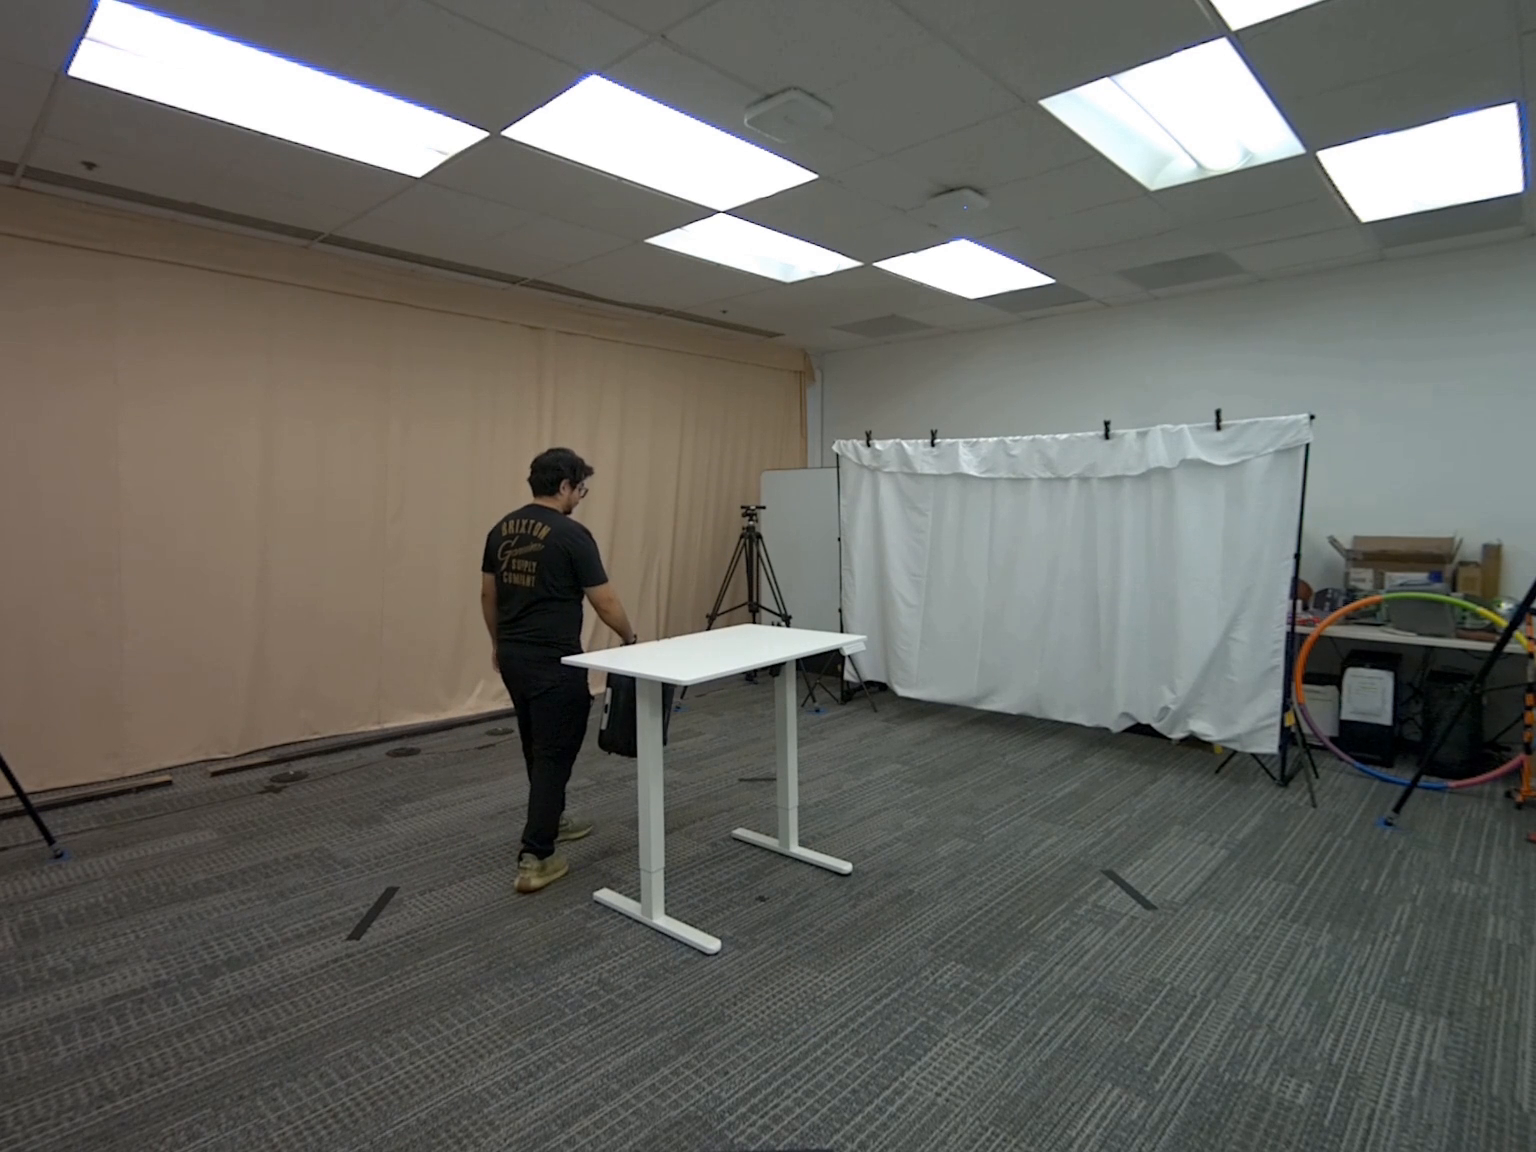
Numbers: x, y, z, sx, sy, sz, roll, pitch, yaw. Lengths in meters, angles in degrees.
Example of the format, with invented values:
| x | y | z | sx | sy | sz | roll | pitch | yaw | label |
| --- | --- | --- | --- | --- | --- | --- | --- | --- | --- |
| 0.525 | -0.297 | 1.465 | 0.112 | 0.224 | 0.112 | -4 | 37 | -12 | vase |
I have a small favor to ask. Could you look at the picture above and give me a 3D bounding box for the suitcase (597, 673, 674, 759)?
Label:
| x | y | z | sx | sy | sz | roll | pitch | yaw | label |
| --- | --- | --- | --- | --- | --- | --- | --- | --- | --- |
| -0.537 | 0.525 | 3.448 | 0.248 | 0.376 | 0.549 | 9 | -3 | -3 | suitcase |
